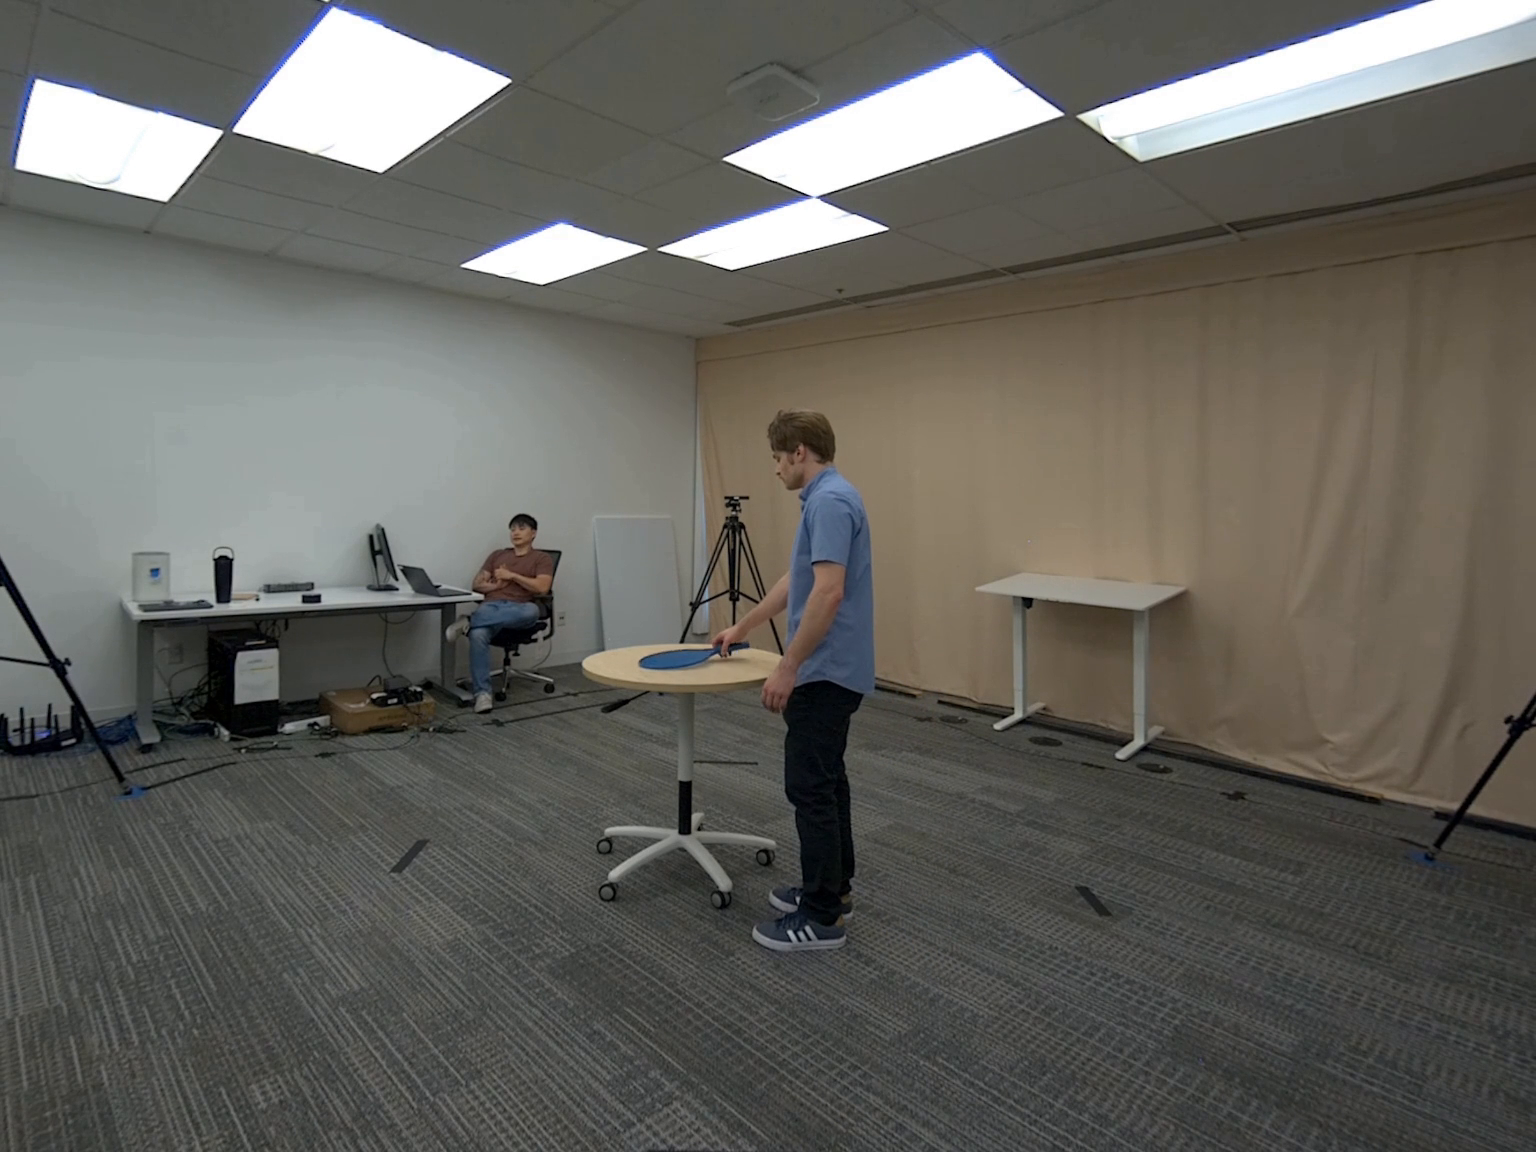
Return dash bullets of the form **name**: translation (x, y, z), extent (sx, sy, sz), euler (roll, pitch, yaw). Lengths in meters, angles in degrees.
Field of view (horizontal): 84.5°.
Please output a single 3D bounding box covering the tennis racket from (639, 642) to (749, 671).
- **tennis racket**: translation (-0.270, 0.295, 3.074), extent (0.426, 0.031, 0.218), euler (-7, 8, -23)
